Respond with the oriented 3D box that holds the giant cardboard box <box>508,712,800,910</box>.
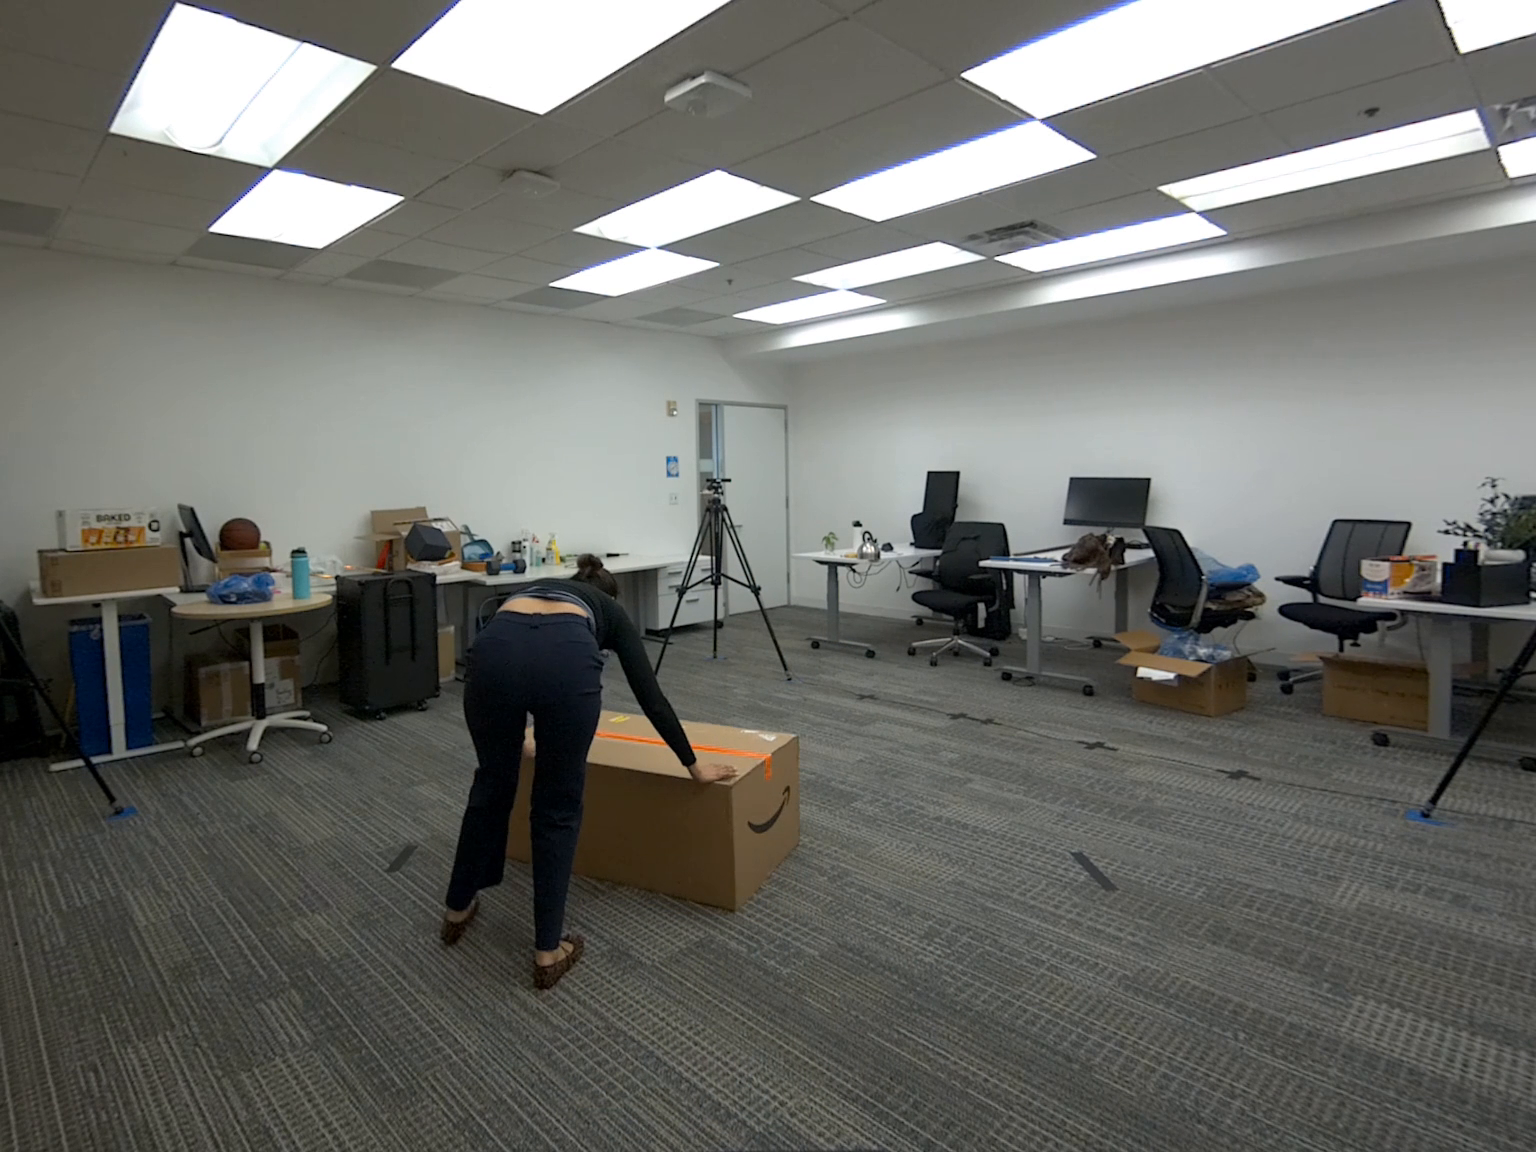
[{"bbox_3d":[-0.456,0.825,3.232,1.050,0.424,0.567,2,7,26],"label":"giant cardboard box"}]
